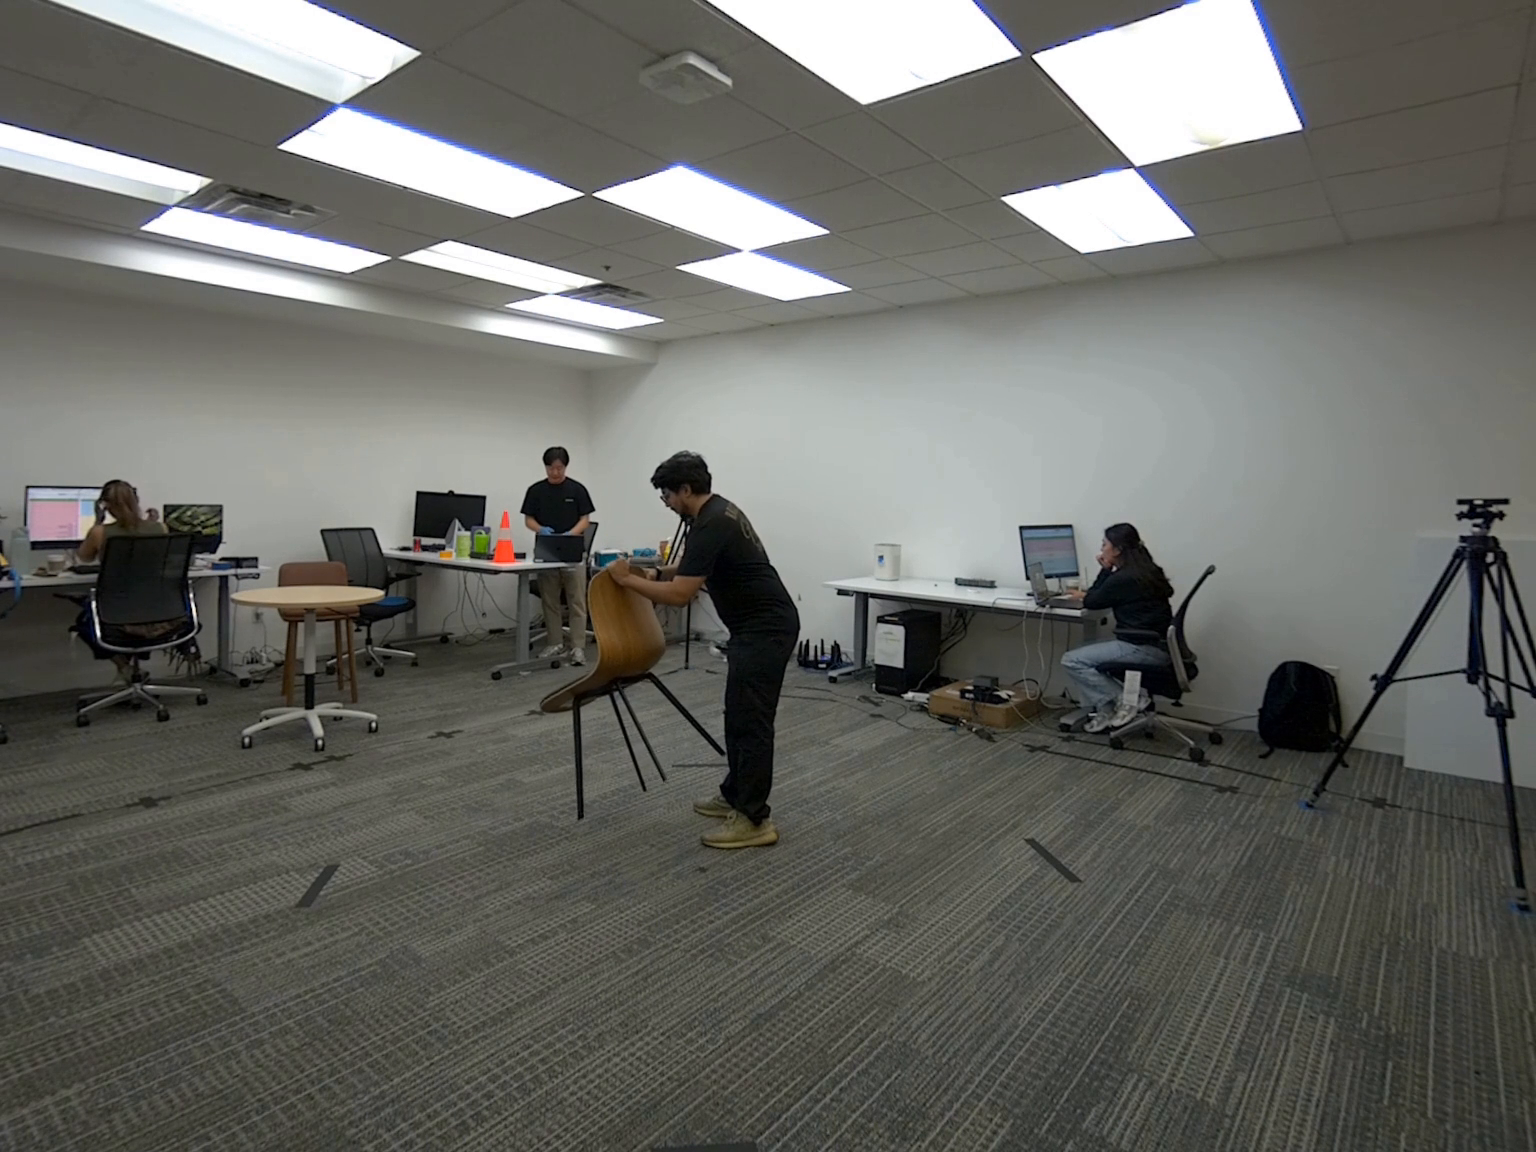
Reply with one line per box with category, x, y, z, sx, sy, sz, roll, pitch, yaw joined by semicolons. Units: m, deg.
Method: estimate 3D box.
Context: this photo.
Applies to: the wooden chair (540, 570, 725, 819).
wooden chair;-0.652;0.458;3.477;0.529;0.890;0.465;-26;-12;26
